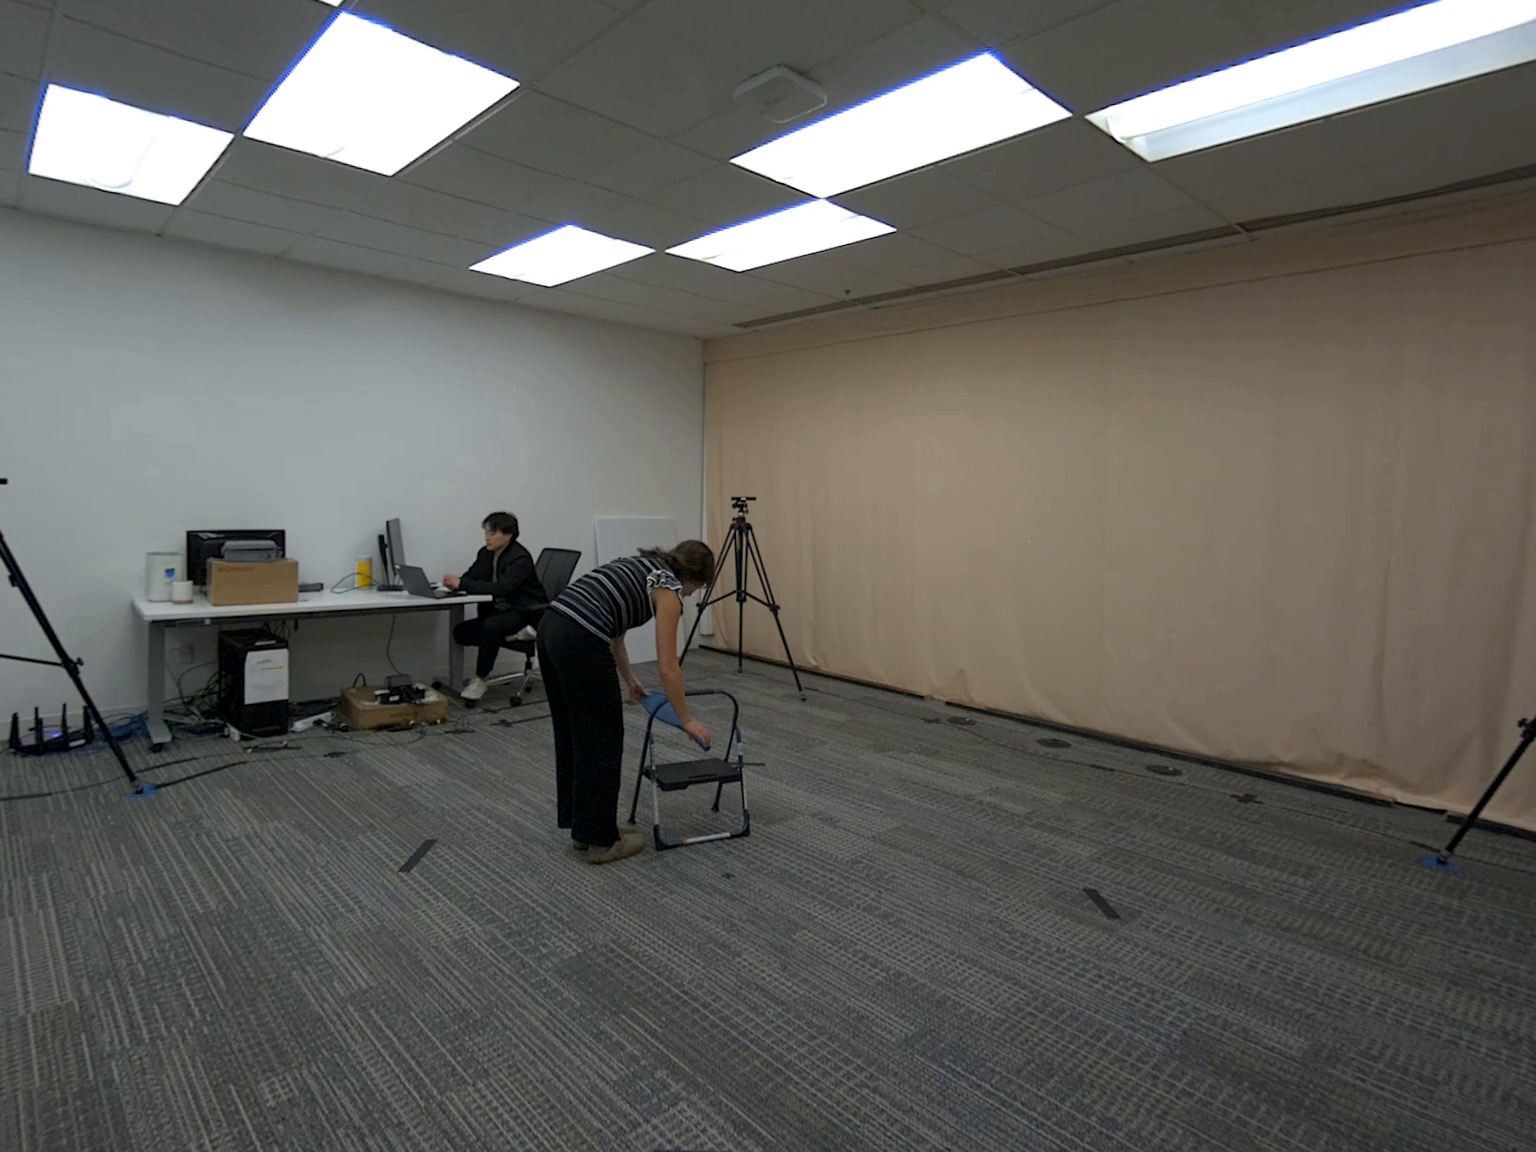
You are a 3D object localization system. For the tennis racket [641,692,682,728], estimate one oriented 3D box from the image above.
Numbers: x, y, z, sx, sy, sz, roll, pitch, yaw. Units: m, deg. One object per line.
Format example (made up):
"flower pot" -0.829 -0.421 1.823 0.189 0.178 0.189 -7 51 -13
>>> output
"tennis racket" -0.404 0.614 3.602 0.208 0.031 0.447 1 26 -44
